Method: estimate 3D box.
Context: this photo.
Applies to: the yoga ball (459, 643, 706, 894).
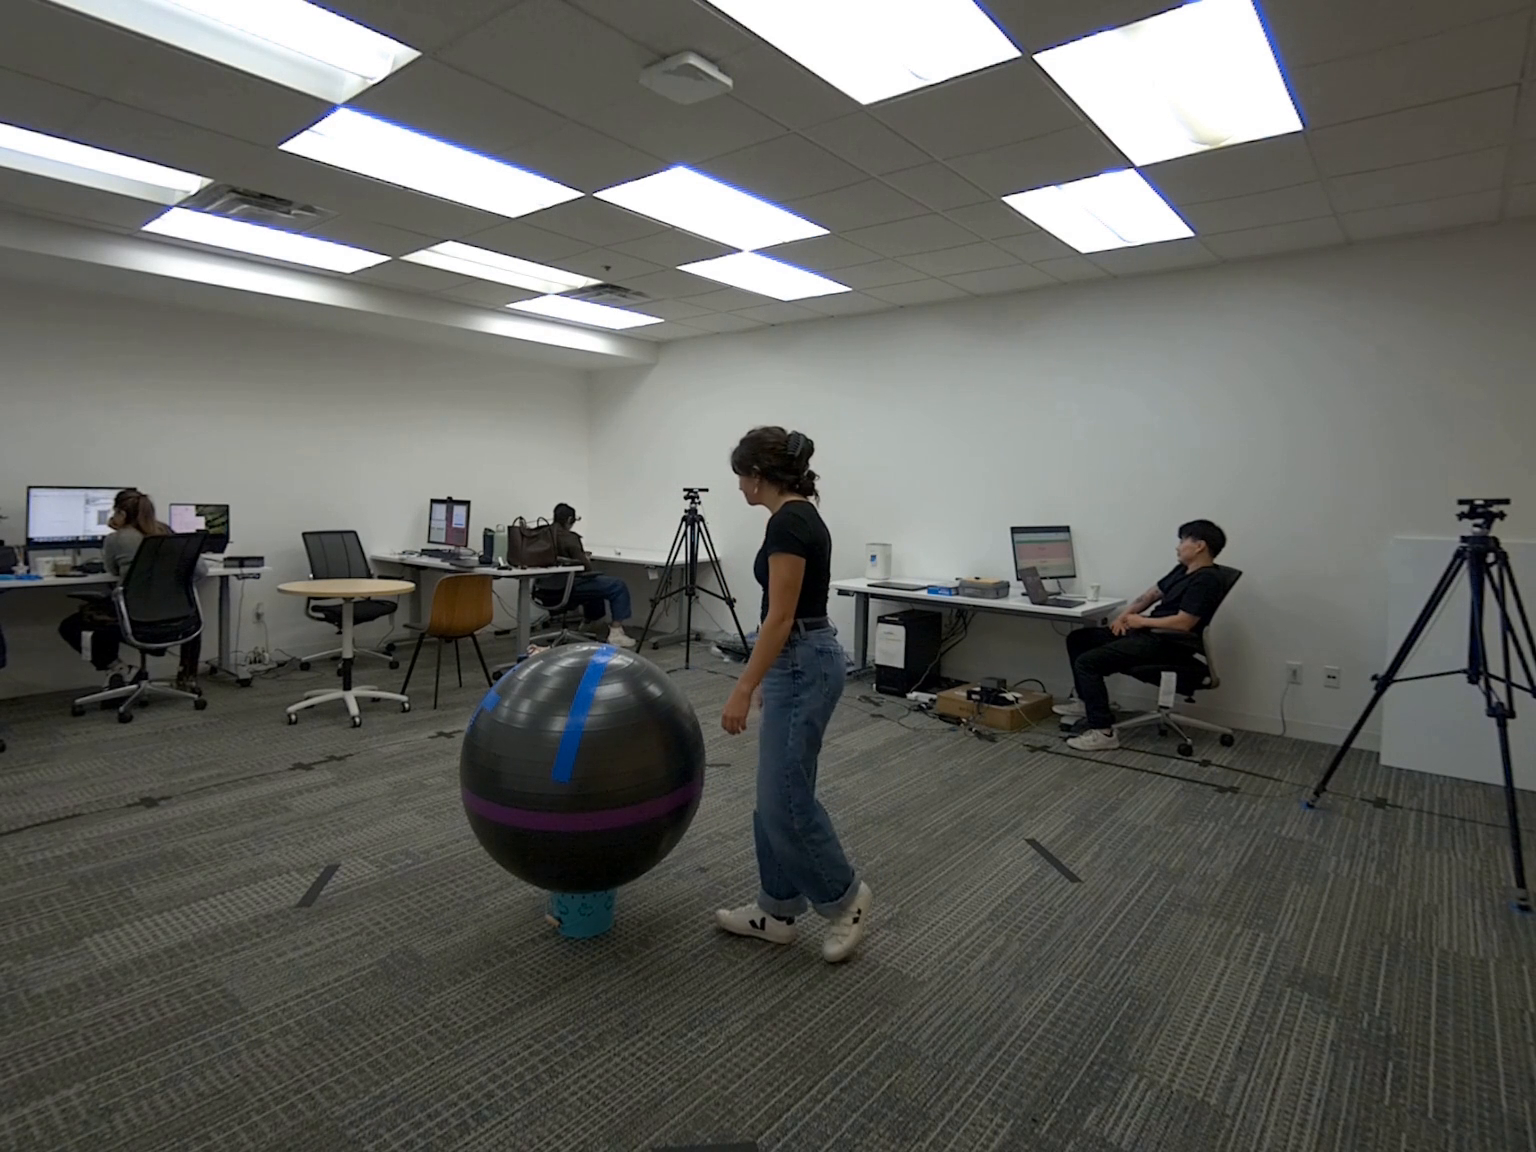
[{"bbox_3d":[-0.589,0.596,2.674,0.757,0.755,0.762,1,4,-2],"label":"yoga ball"}]
